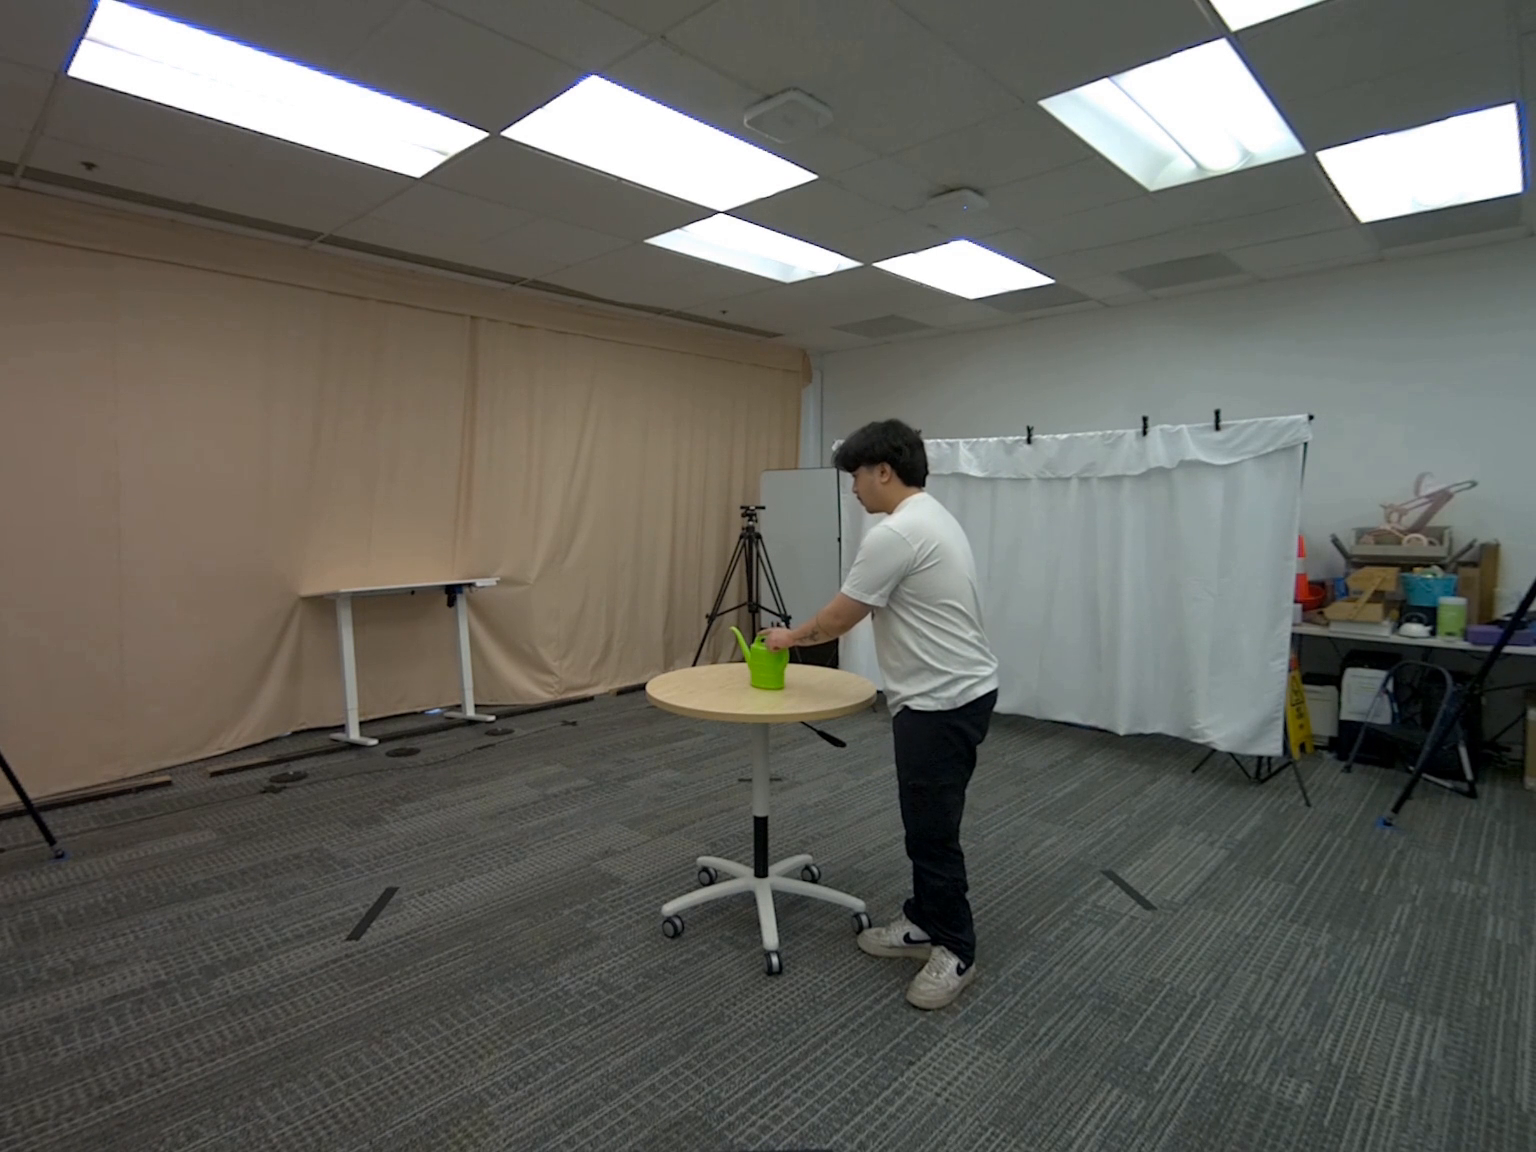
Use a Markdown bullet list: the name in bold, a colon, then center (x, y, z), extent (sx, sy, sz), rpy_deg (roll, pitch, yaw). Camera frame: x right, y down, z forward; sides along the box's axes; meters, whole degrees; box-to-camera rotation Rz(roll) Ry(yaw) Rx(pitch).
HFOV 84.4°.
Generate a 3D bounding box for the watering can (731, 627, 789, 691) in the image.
- **watering can**: center (-0.021, 0.280, 2.824), extent (0.095, 0.176, 0.287), rpy_deg (-1, 7, -32)
